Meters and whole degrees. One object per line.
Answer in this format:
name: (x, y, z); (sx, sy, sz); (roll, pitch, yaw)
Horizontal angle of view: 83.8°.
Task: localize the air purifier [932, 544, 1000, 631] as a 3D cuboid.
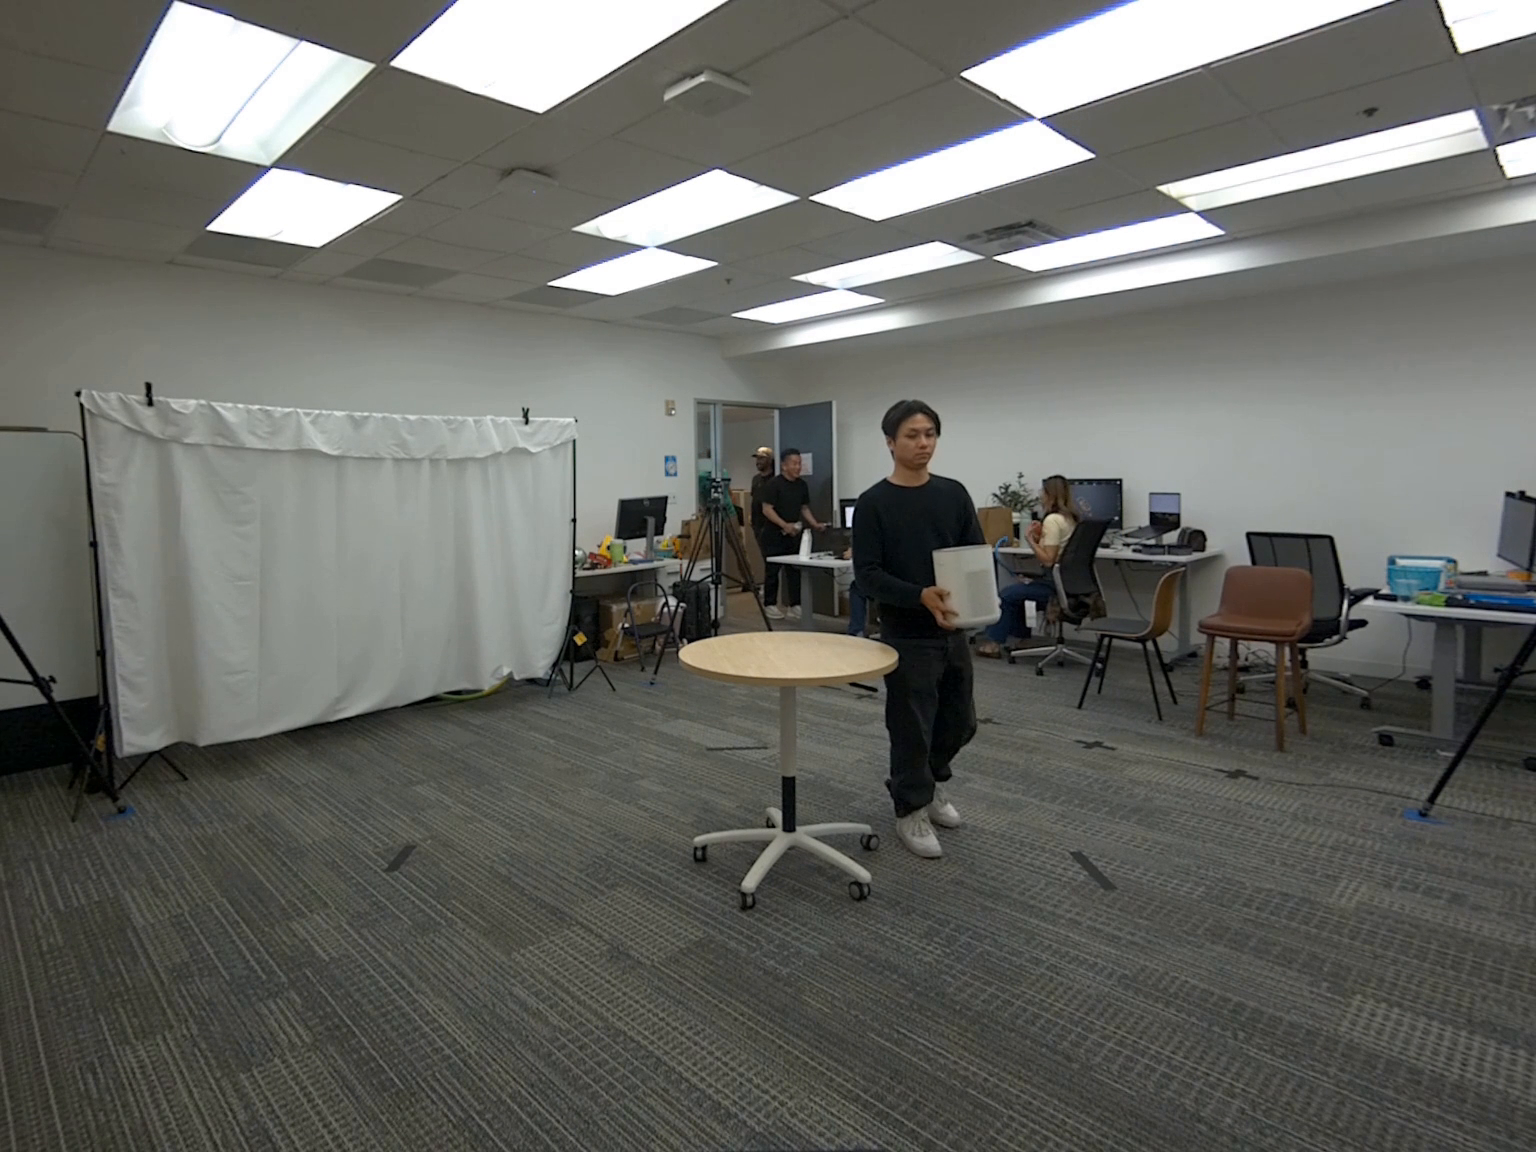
air purifier: (0.672, 0.036, 2.918); (0.169, 0.265, 0.174); (-6, 0, -19)
